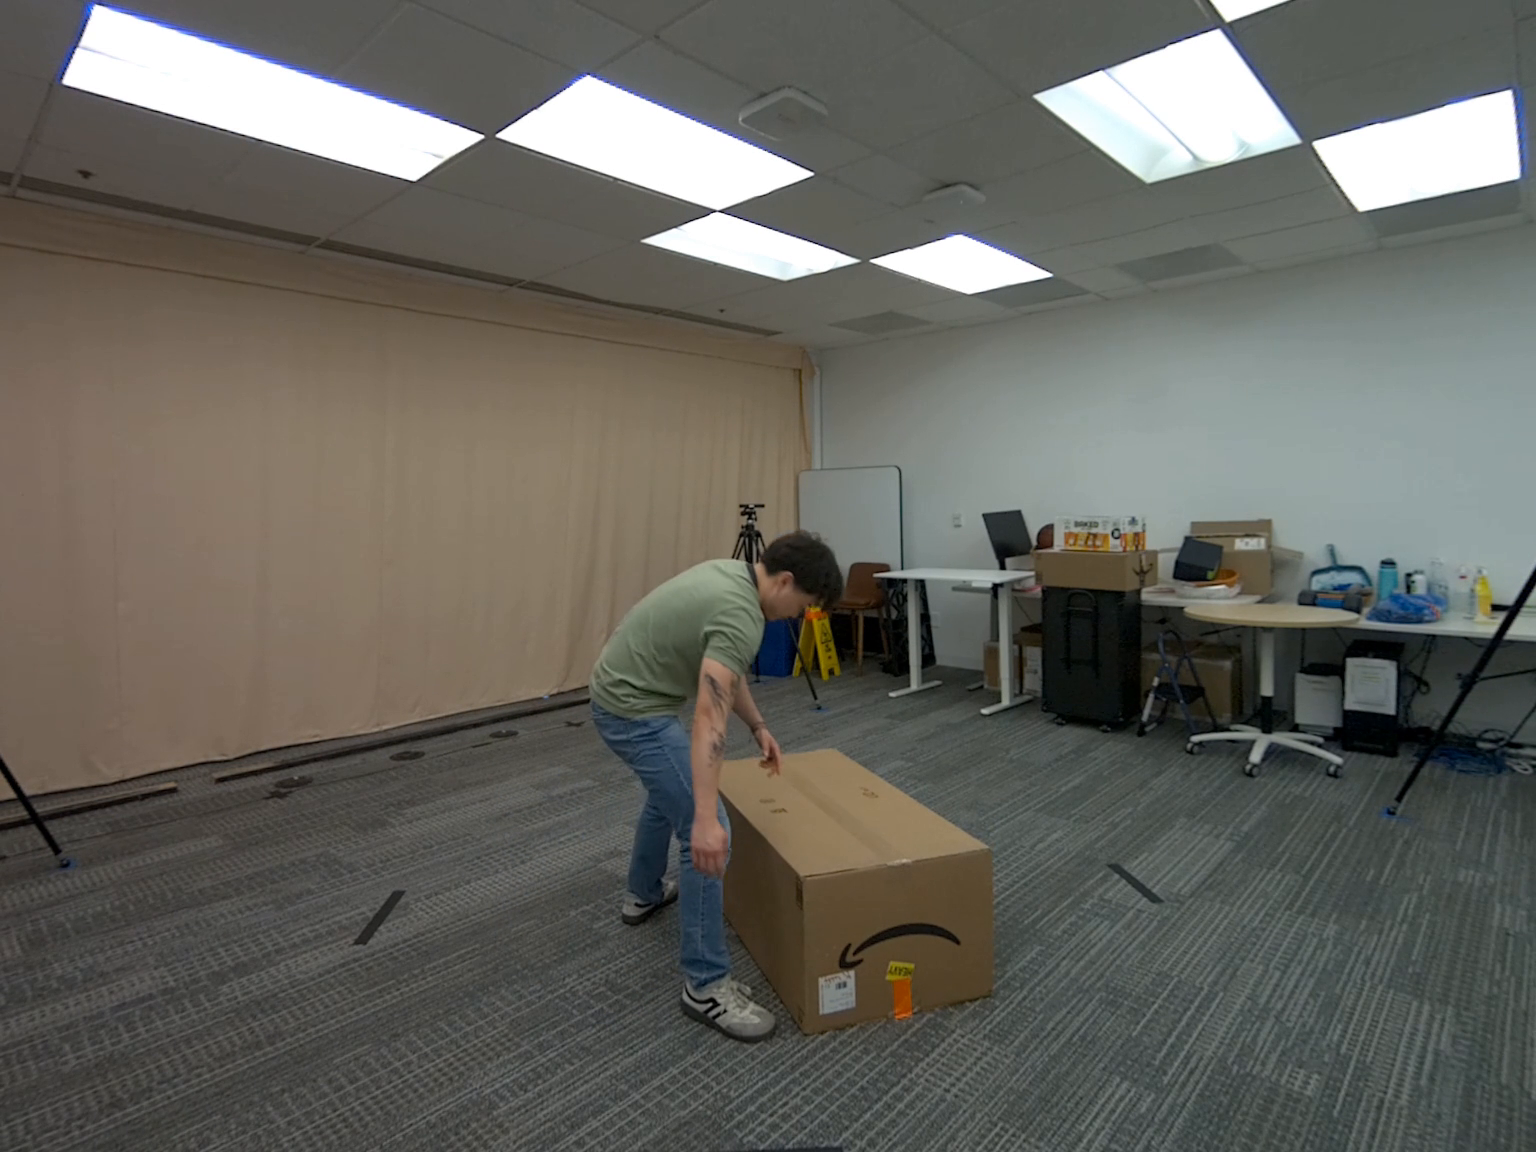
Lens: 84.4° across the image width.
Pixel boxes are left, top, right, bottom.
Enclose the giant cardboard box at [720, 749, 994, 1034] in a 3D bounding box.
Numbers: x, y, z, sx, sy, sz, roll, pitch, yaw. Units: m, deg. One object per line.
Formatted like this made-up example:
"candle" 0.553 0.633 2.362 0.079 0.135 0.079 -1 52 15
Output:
"giant cardboard box" 0.184 0.940 2.755 0.567 0.425 1.048 -3 5 -19
